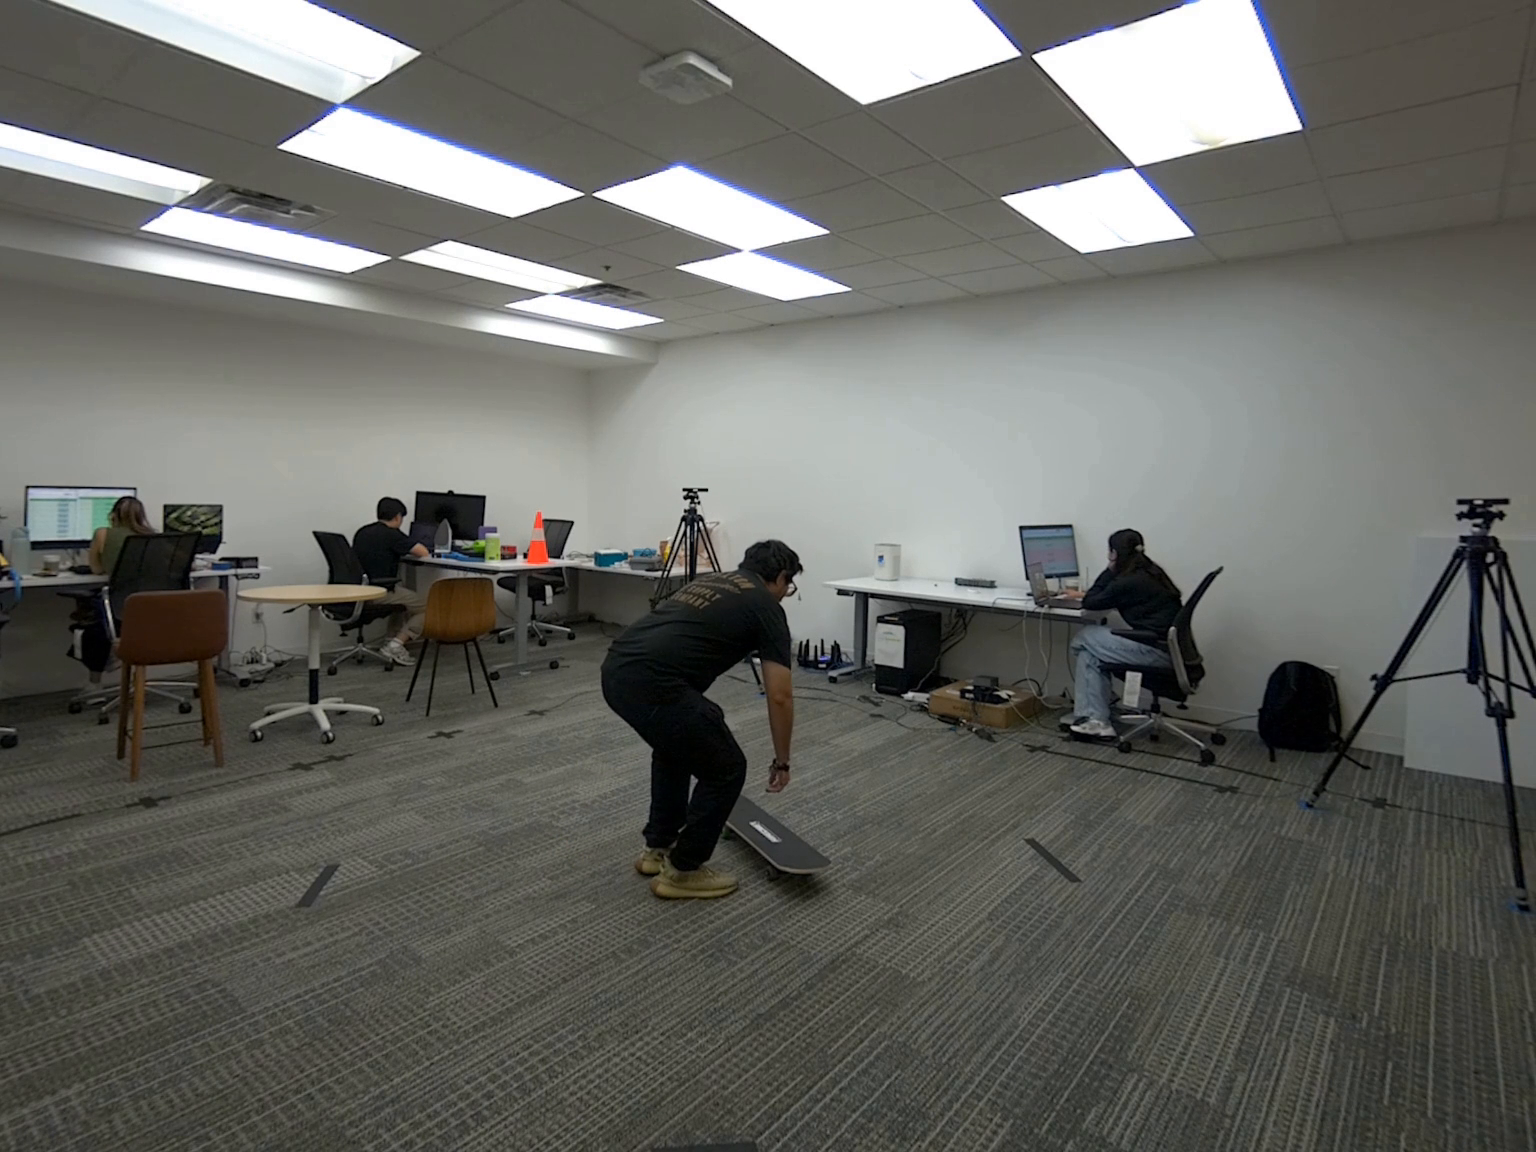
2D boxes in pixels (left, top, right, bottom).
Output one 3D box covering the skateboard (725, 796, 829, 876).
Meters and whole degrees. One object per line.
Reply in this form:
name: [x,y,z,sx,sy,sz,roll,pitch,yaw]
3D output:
skateboard: [-0.023,1.002,3.245,0.189,0.110,0.808,-2,7,-27]
